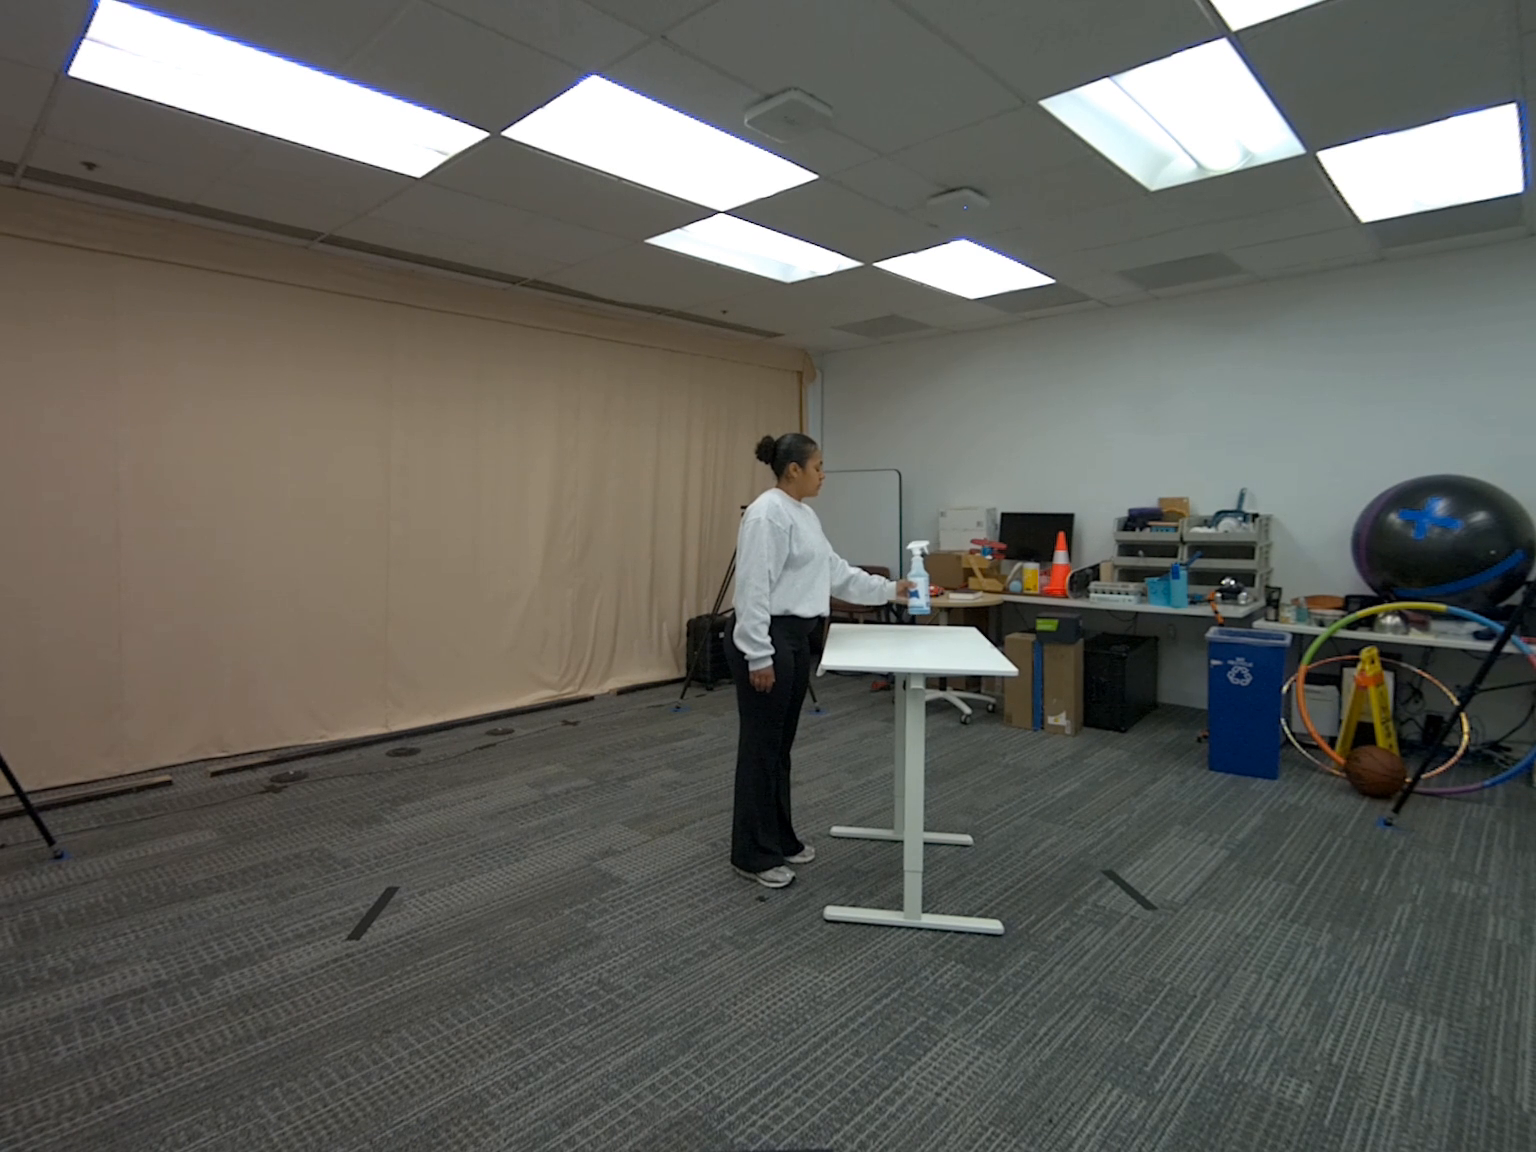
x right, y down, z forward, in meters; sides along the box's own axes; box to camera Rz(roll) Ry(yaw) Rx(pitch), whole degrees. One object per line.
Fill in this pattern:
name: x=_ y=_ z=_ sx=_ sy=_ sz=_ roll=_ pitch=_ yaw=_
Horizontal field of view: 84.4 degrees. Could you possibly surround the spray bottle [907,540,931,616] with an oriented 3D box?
spray bottle: x=0.606 y=0.015 z=3.408 sx=0.092 sy=0.298 sz=0.085 roll=-1 pitch=-4 yaw=24
